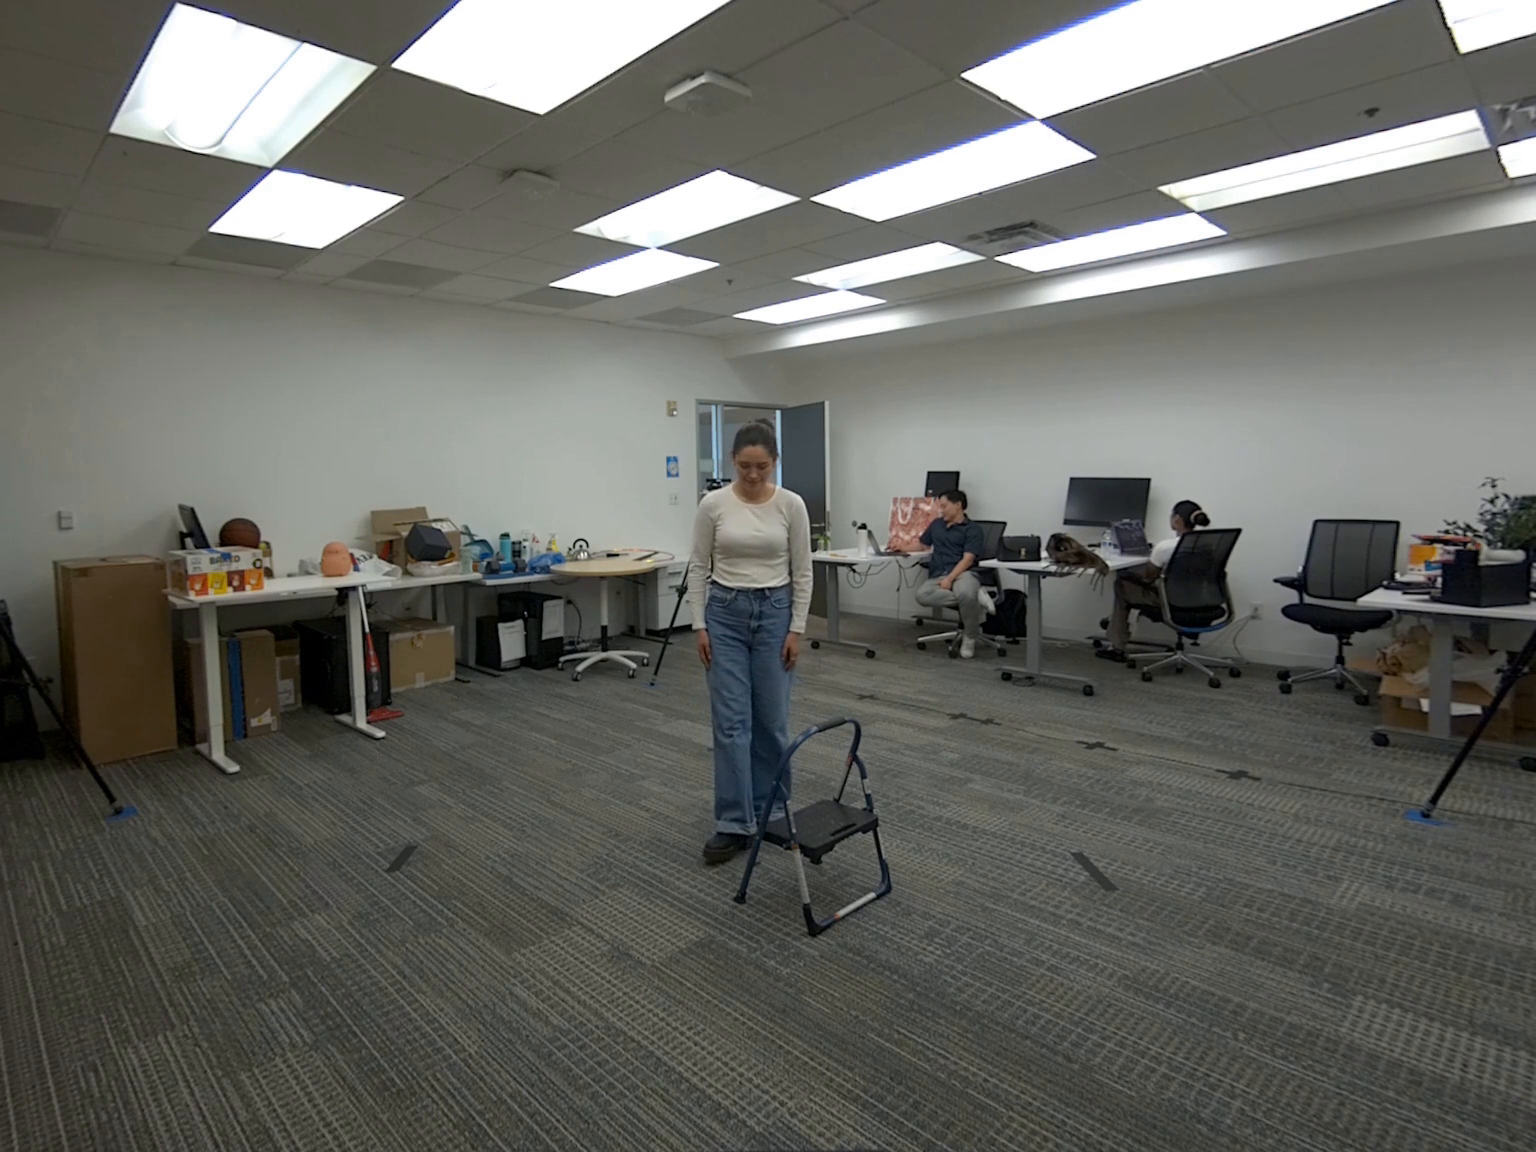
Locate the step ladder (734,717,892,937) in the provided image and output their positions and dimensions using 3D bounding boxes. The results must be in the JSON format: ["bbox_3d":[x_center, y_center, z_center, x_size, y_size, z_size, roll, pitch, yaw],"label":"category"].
[{"bbox_3d":[0.152,0.769,2.840,0.360,0.604,0.419,3,6,43],"label":"step ladder"}]
